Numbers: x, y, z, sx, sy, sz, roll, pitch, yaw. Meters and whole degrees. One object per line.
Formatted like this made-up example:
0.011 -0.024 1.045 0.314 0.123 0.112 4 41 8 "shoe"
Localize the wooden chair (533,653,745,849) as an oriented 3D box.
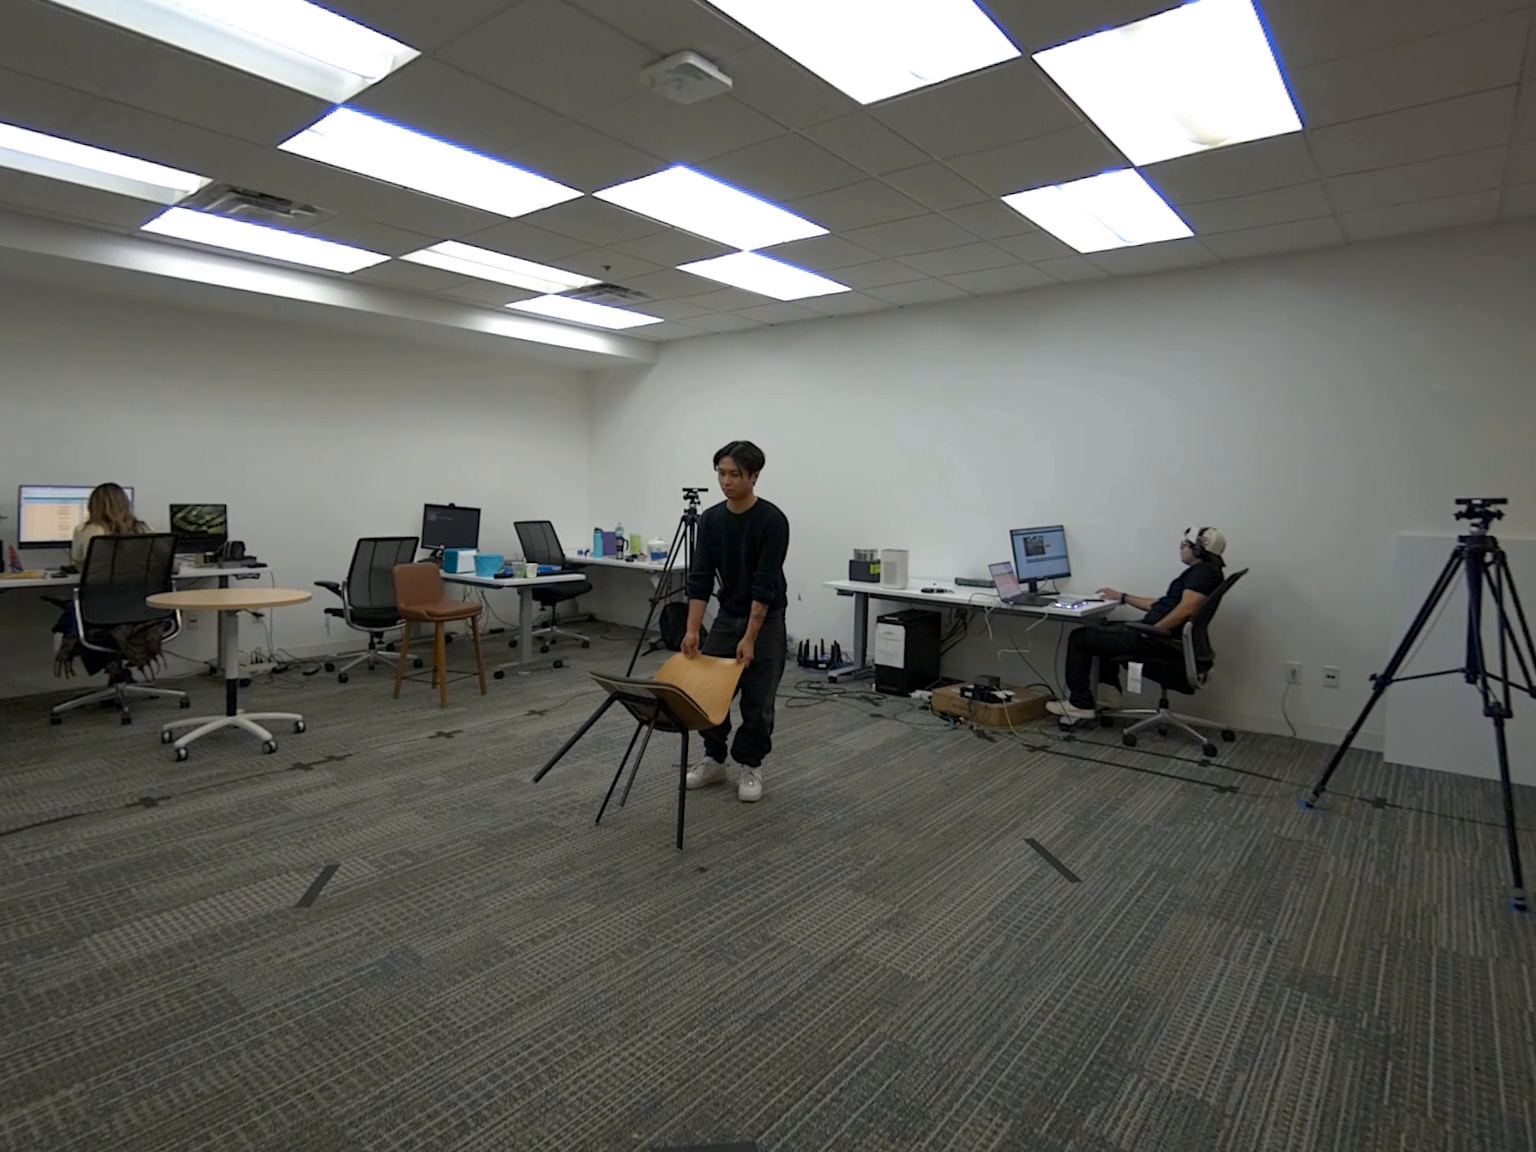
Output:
-0.489 0.554 3.418 0.493 0.886 0.502 3 -37 34 "wooden chair"
